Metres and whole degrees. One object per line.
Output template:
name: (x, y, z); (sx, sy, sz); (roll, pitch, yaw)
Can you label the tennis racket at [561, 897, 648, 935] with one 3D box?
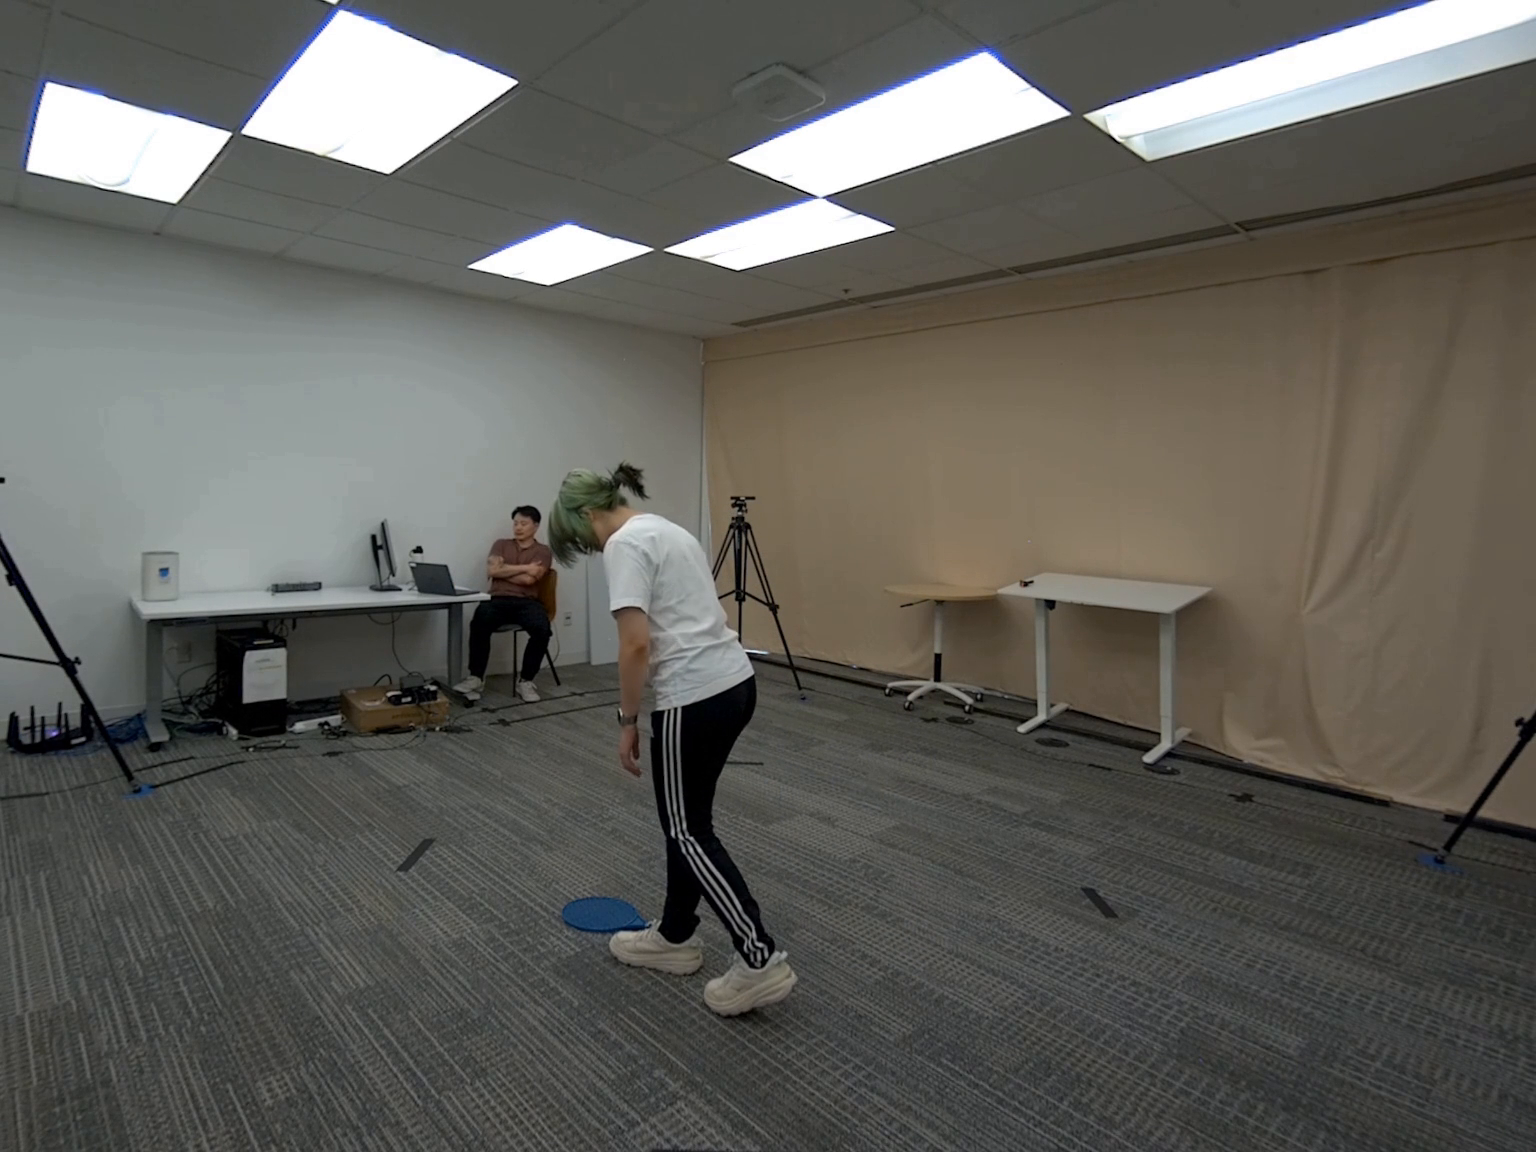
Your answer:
tennis racket: (-0.487, 1.119, 2.741); (0.442, 0.031, 0.210); (2, 6, 28)
